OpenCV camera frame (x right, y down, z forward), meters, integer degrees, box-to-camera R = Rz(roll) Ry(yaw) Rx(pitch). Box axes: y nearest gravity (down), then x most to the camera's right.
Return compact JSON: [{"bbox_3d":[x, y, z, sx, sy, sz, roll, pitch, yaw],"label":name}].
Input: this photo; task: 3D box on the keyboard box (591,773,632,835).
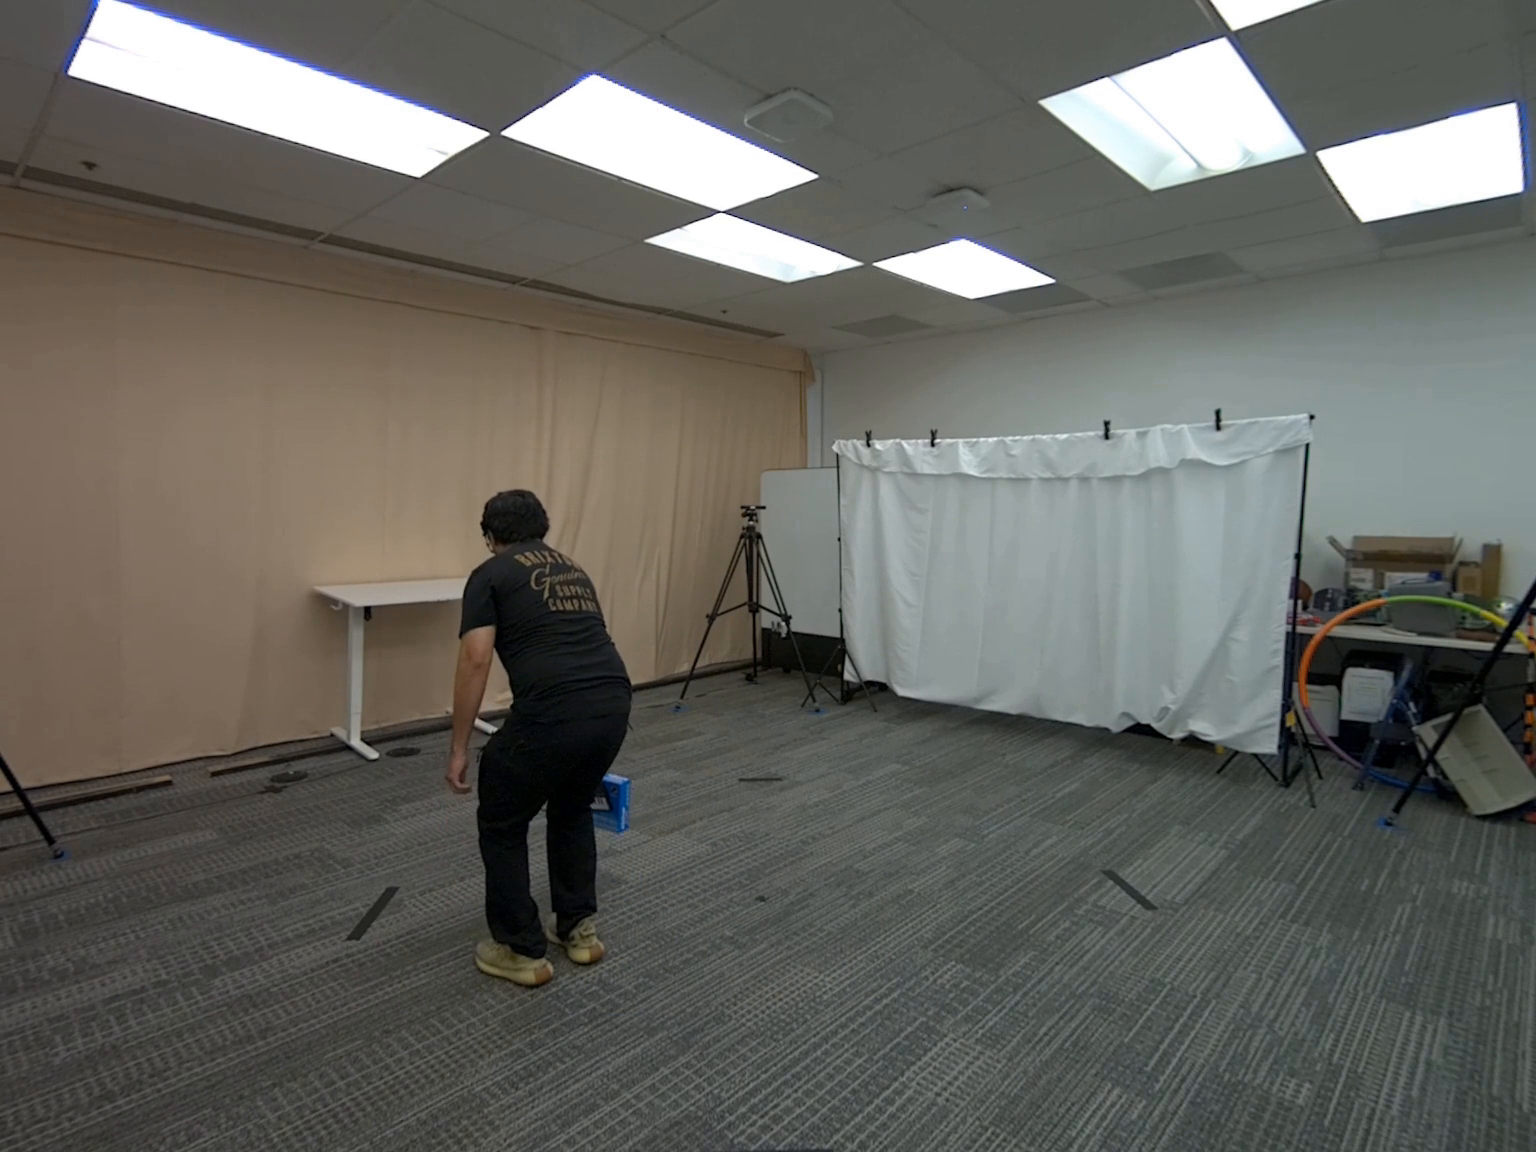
[{"bbox_3d":[-0.675,0.756,2.918,0.449,0.175,0.057,5,5,28],"label":"keyboard box"}]
